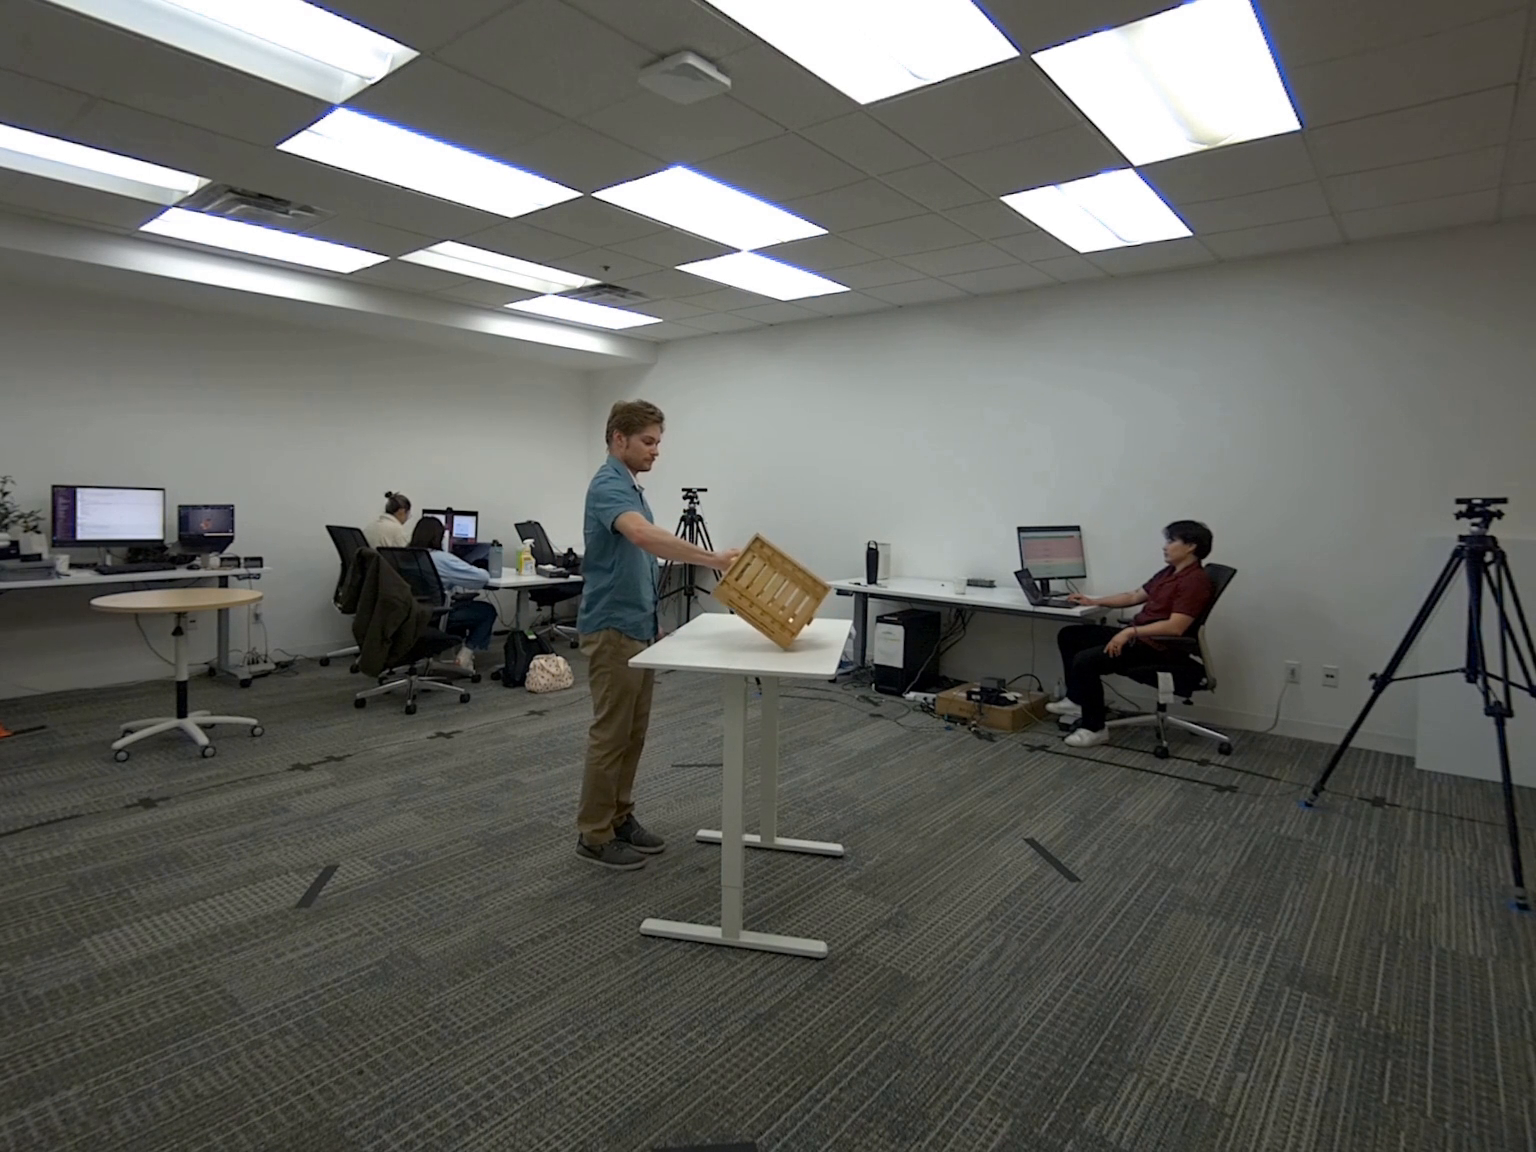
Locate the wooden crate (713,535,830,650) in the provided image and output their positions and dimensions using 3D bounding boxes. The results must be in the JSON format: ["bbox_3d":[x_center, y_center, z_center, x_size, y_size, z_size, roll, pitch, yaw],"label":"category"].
[{"bbox_3d":[-0.001,0.060,2.834,0.327,0.302,0.271,37,-19,3],"label":"wooden crate"}]
